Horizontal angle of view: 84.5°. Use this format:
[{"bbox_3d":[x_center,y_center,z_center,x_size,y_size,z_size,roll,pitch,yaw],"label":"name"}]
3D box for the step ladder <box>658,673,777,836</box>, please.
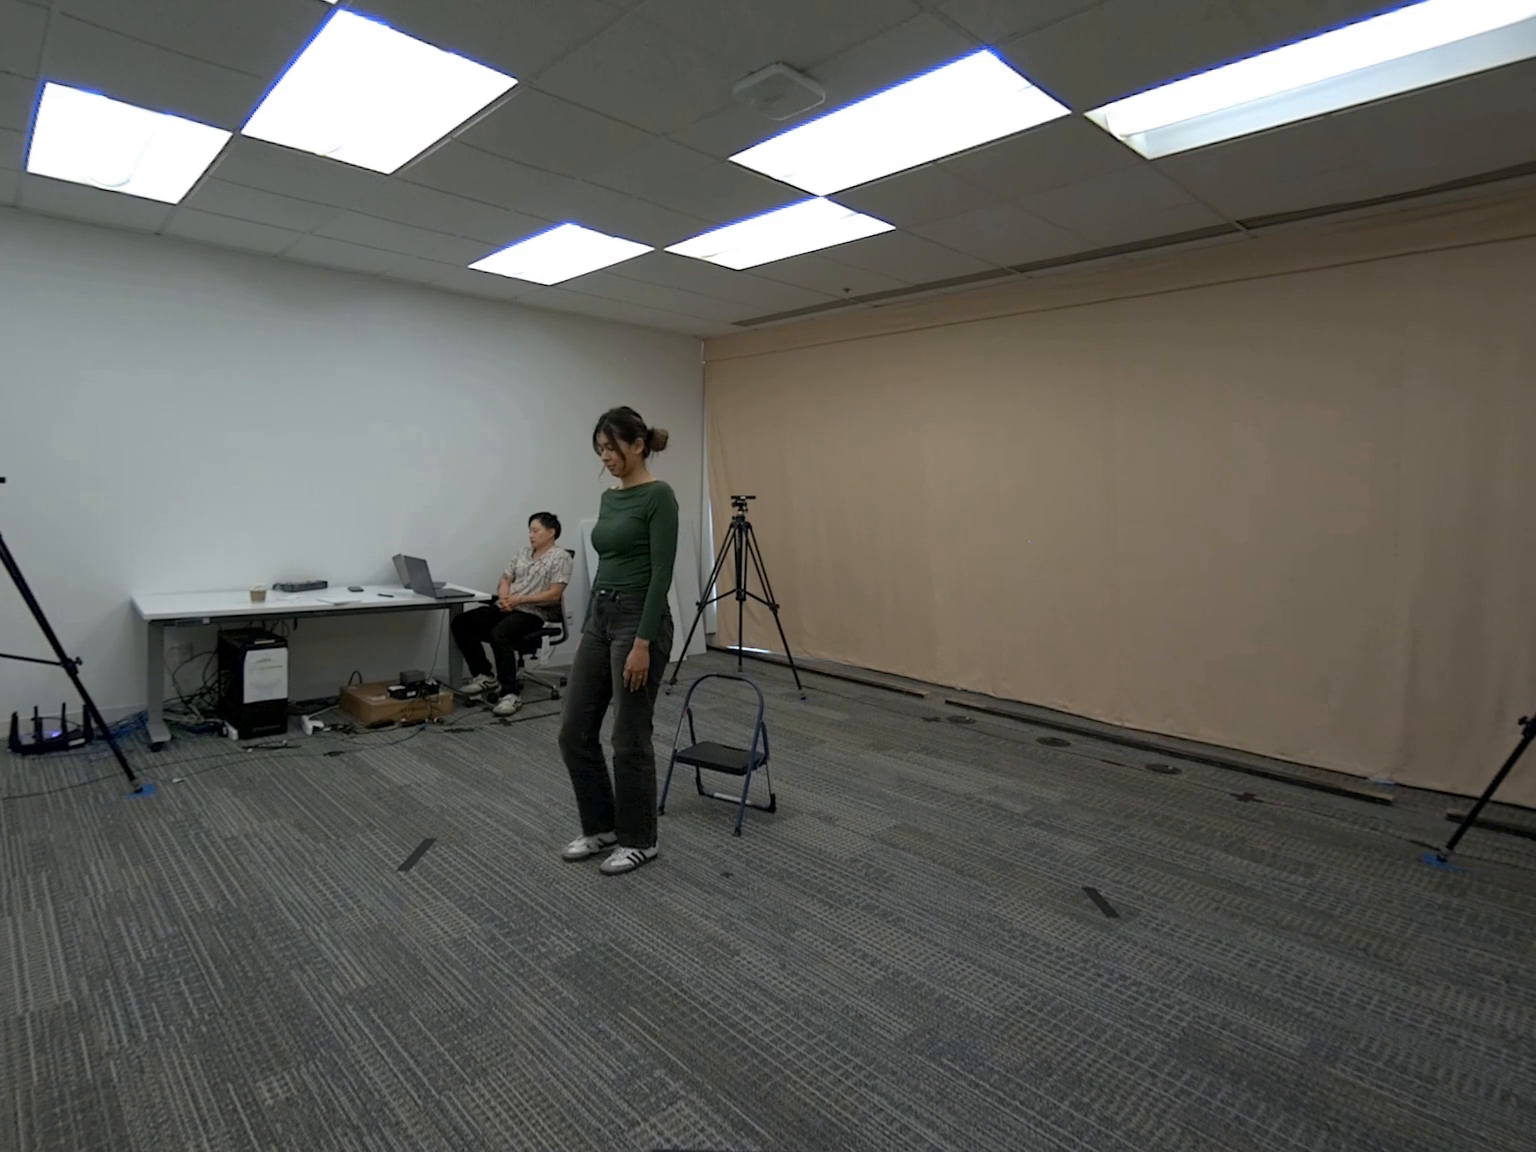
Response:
[{"bbox_3d":[-0.221,0.745,3.692,0.440,0.604,0.342,4,4,30],"label":"step ladder"}]
